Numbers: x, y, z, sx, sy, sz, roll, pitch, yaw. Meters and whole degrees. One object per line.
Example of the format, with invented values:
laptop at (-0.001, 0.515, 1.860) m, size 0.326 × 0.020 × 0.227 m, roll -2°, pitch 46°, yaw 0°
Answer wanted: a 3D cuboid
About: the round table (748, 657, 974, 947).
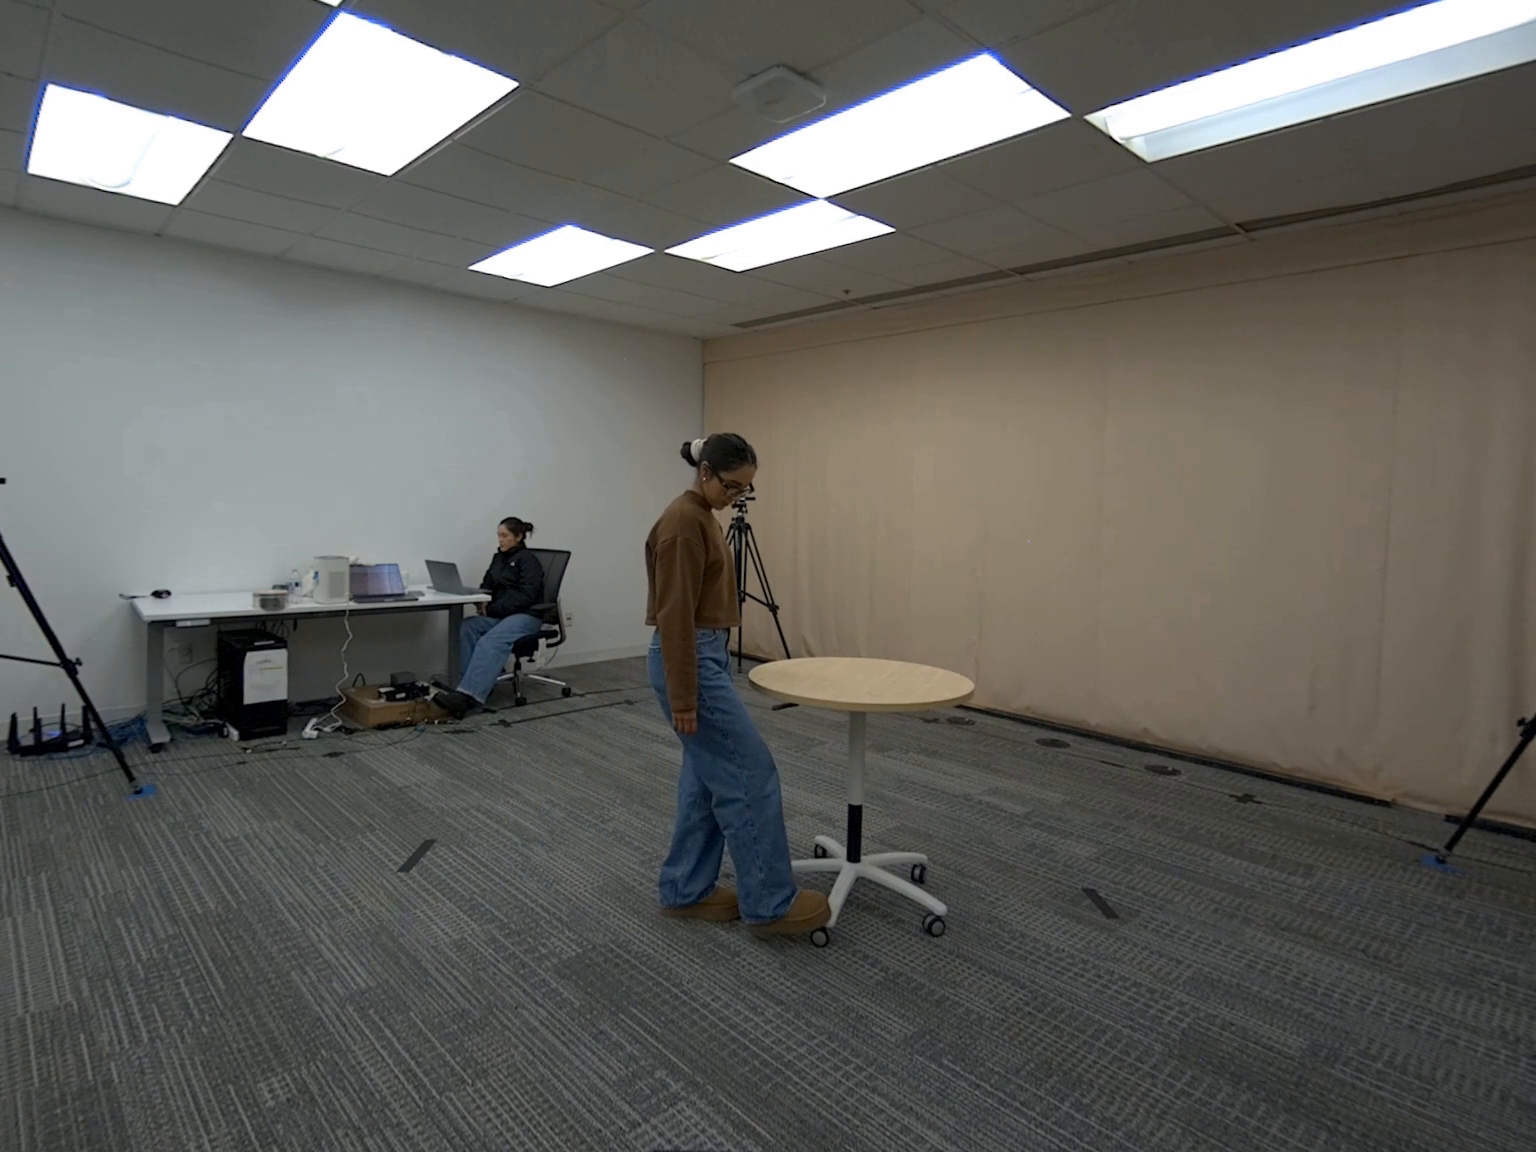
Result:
round table at (0.298, 0.745, 2.925) m, size 0.763 × 0.792 × 0.766 m, roll 2°, pitch 4°, yaw -1°
